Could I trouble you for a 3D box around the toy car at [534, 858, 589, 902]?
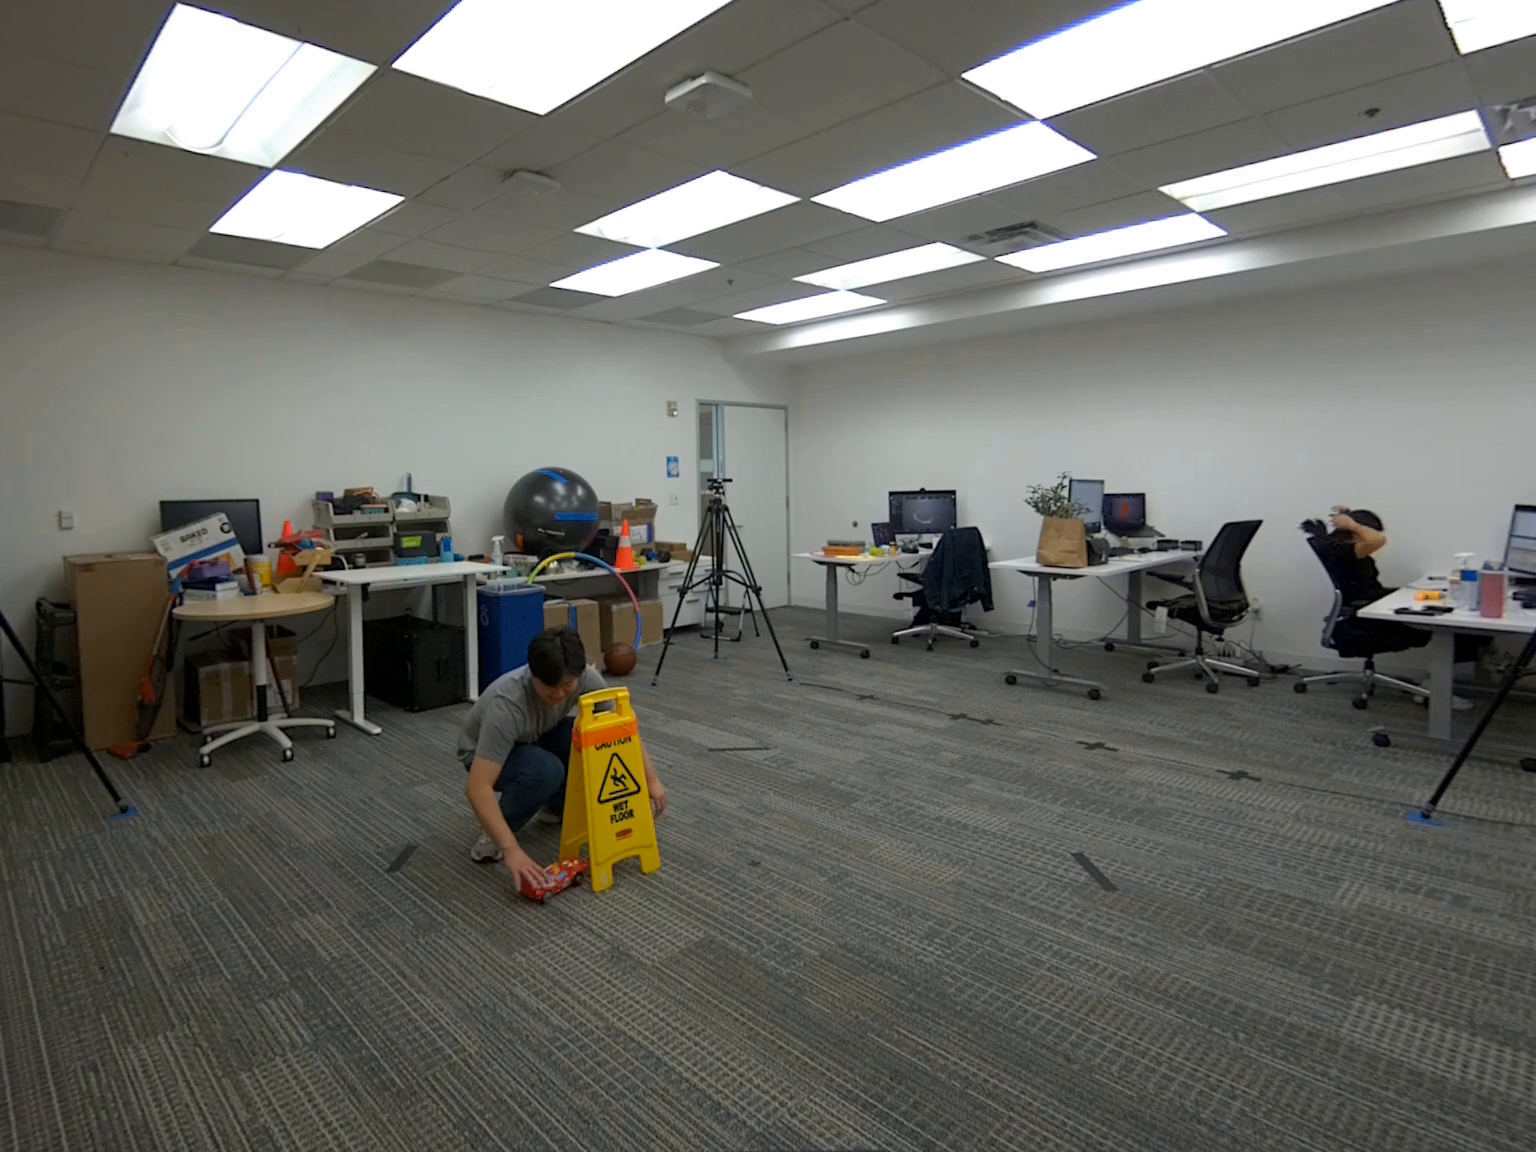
[{"bbox_3d":[-0.647,1.051,3.036,0.249,0.082,0.134,-17,13,-39],"label":"toy car"}]
